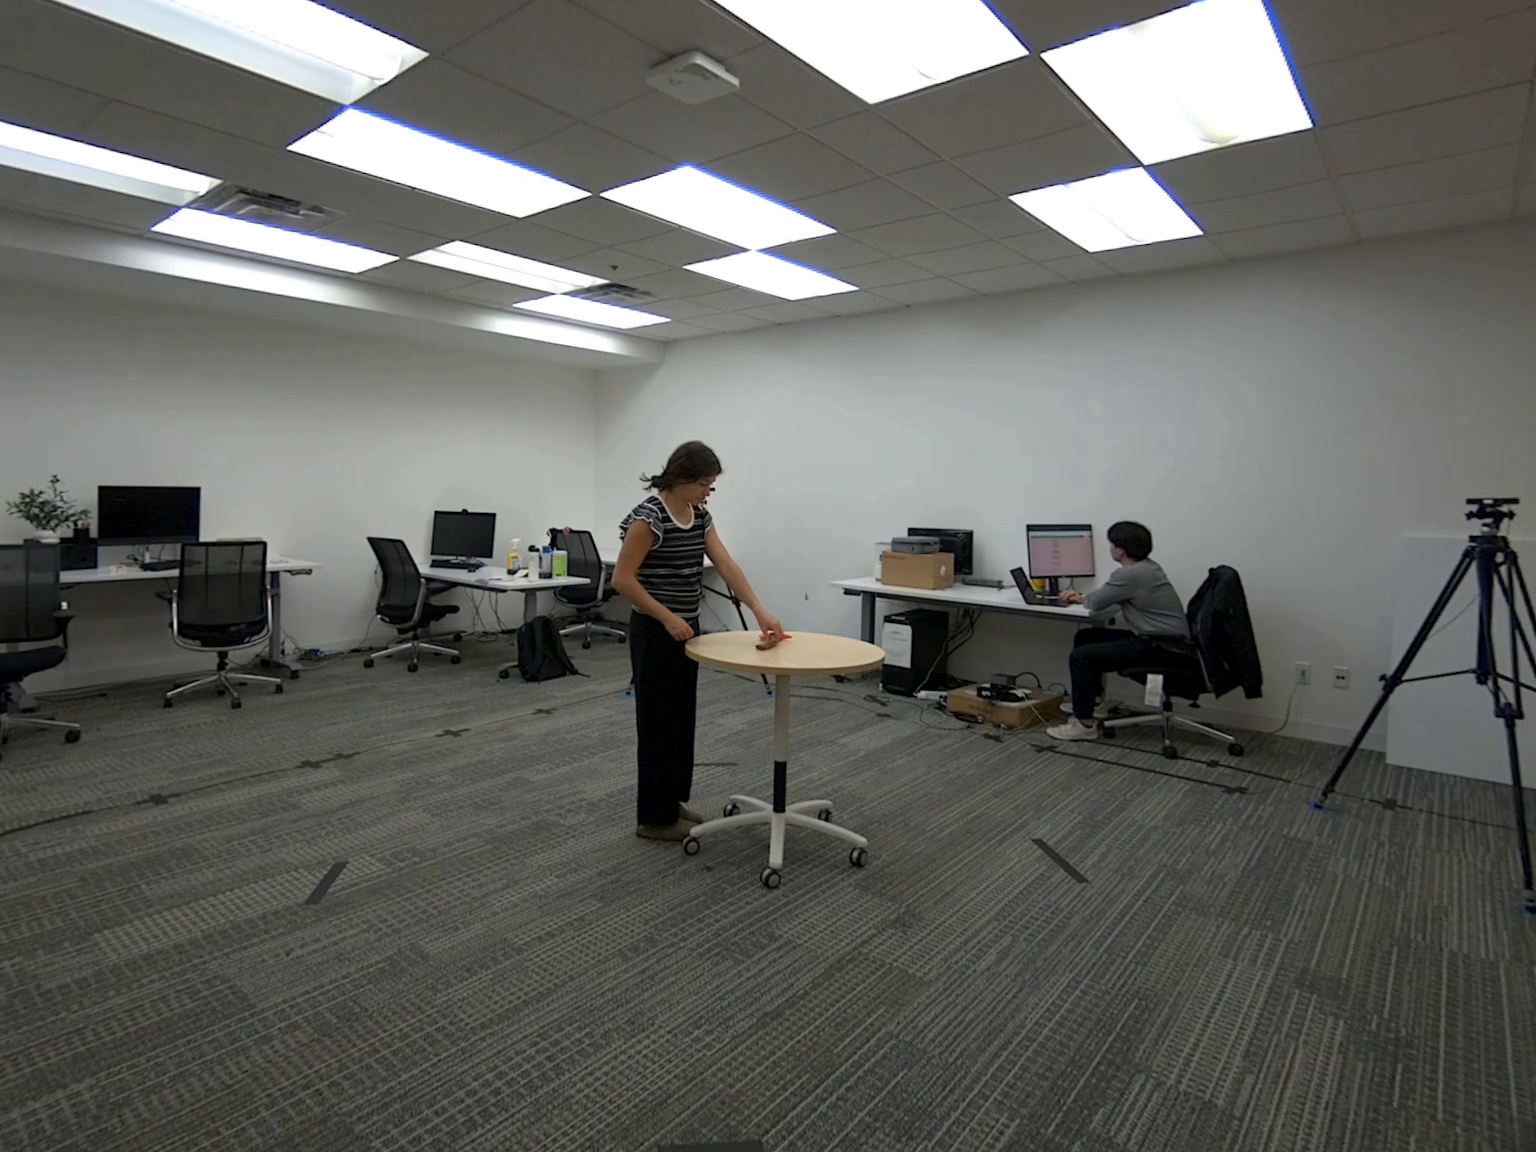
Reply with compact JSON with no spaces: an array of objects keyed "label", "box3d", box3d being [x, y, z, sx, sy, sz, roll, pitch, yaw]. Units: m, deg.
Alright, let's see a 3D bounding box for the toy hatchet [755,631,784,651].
[{"label":"toy hatchet","box3d":[-0.019,0.254,3.330,0.135,0.029,0.264,4,7,27]}]
